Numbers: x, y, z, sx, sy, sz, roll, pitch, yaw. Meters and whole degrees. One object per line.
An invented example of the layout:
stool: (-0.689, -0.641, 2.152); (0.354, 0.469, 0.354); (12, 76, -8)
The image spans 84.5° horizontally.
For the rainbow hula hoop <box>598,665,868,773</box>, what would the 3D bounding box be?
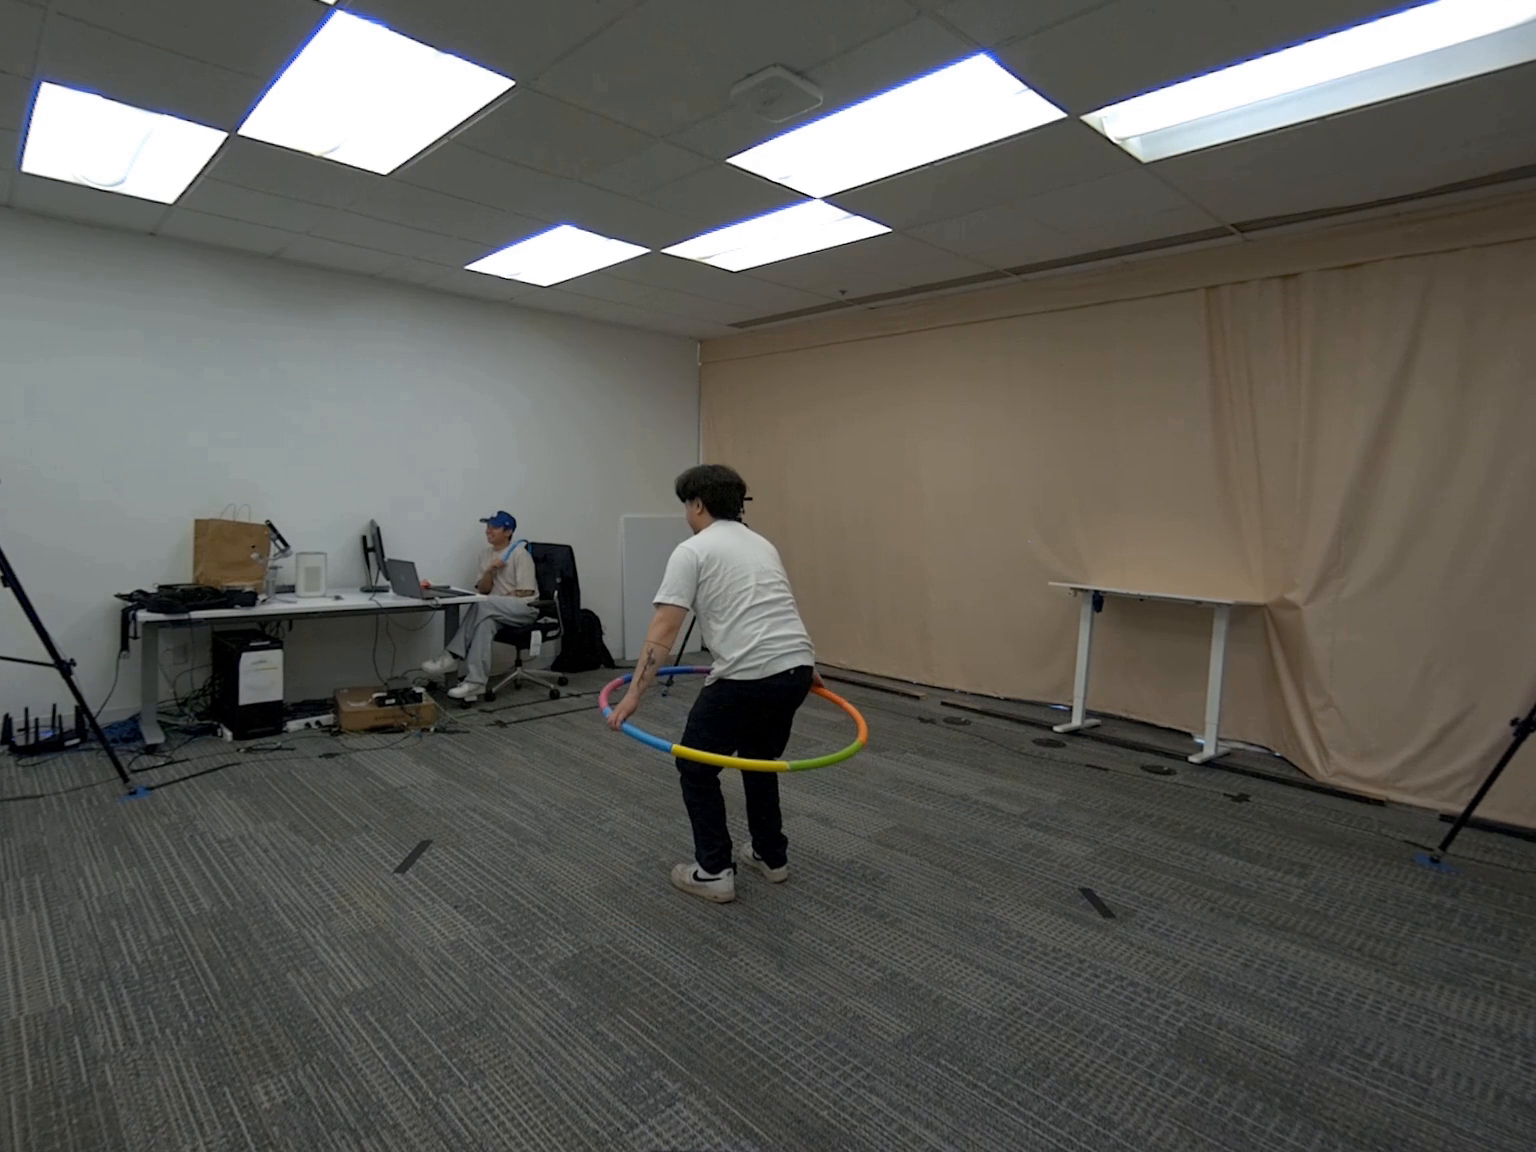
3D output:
rainbow hula hoop: (-0.135, 0.489, 3.084); (0.984, 0.051, 0.993); (6, 11, -2)
